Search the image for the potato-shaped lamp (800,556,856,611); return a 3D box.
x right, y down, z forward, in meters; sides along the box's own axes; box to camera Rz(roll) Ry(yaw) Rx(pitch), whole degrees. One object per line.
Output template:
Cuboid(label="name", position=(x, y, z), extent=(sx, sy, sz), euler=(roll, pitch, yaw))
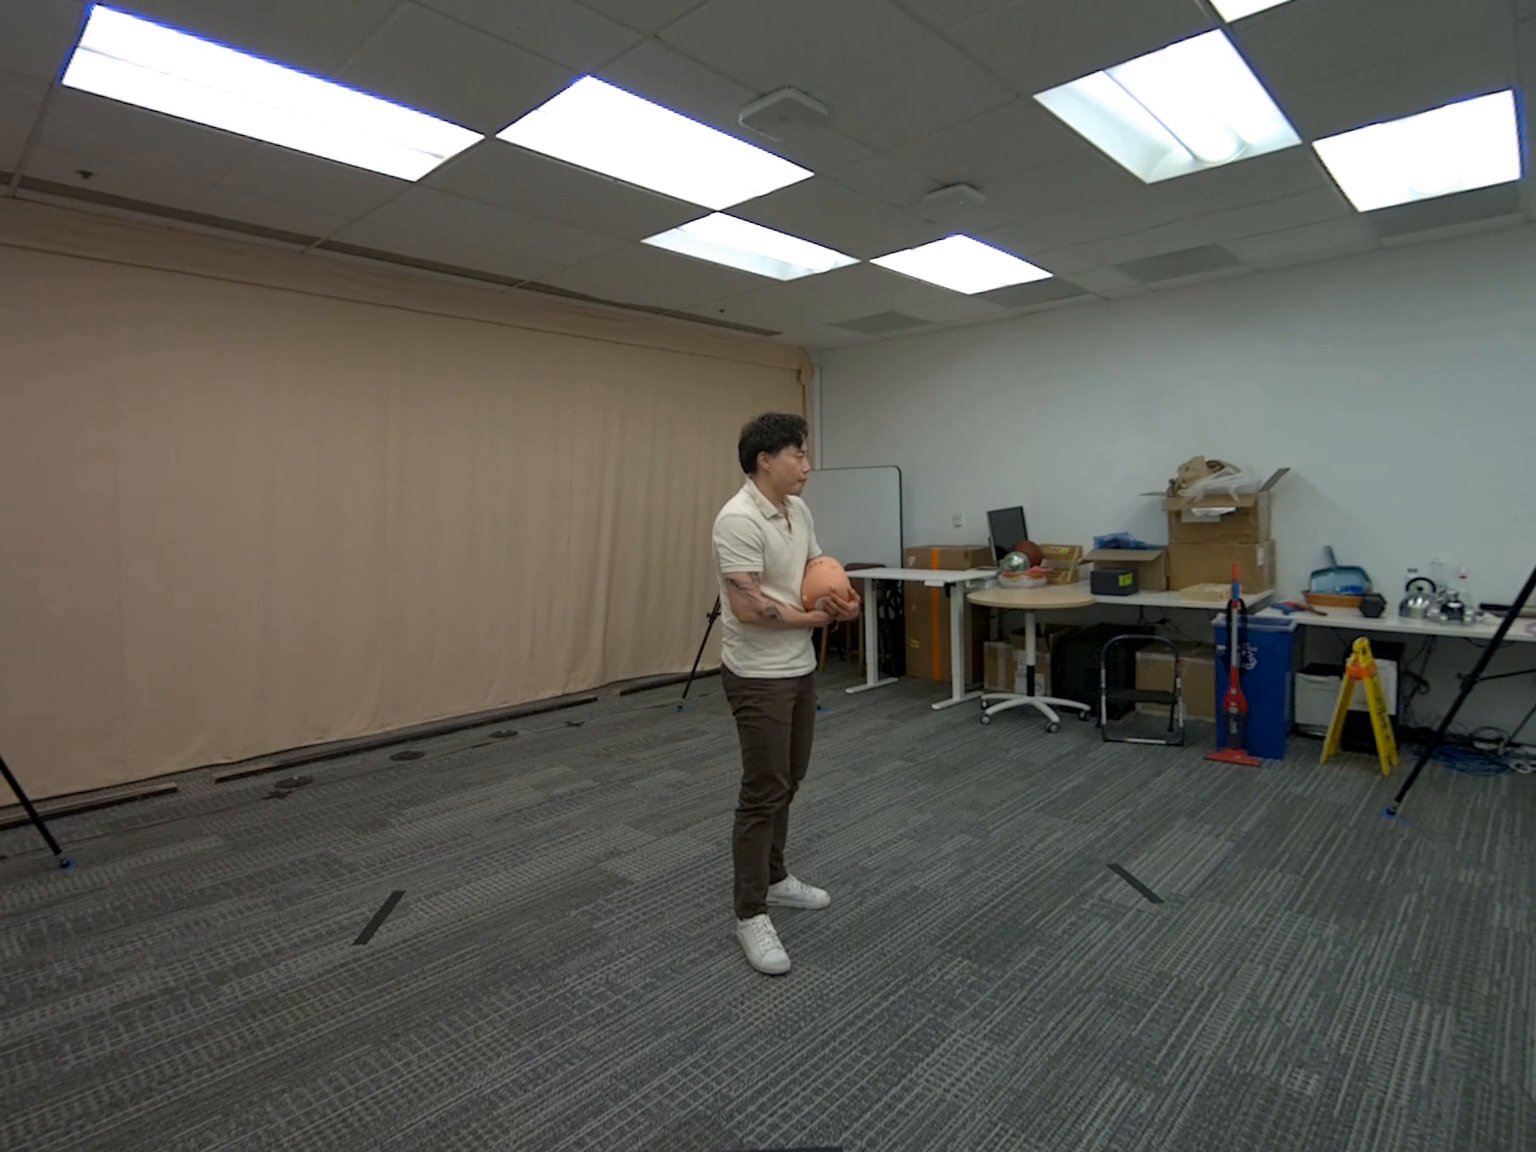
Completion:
Cuboid(label="potato-shaped lamp", position=(0.180, 0.027, 2.765), extent=(0.166, 0.203, 0.165), euler=(-30, -44, 18))
